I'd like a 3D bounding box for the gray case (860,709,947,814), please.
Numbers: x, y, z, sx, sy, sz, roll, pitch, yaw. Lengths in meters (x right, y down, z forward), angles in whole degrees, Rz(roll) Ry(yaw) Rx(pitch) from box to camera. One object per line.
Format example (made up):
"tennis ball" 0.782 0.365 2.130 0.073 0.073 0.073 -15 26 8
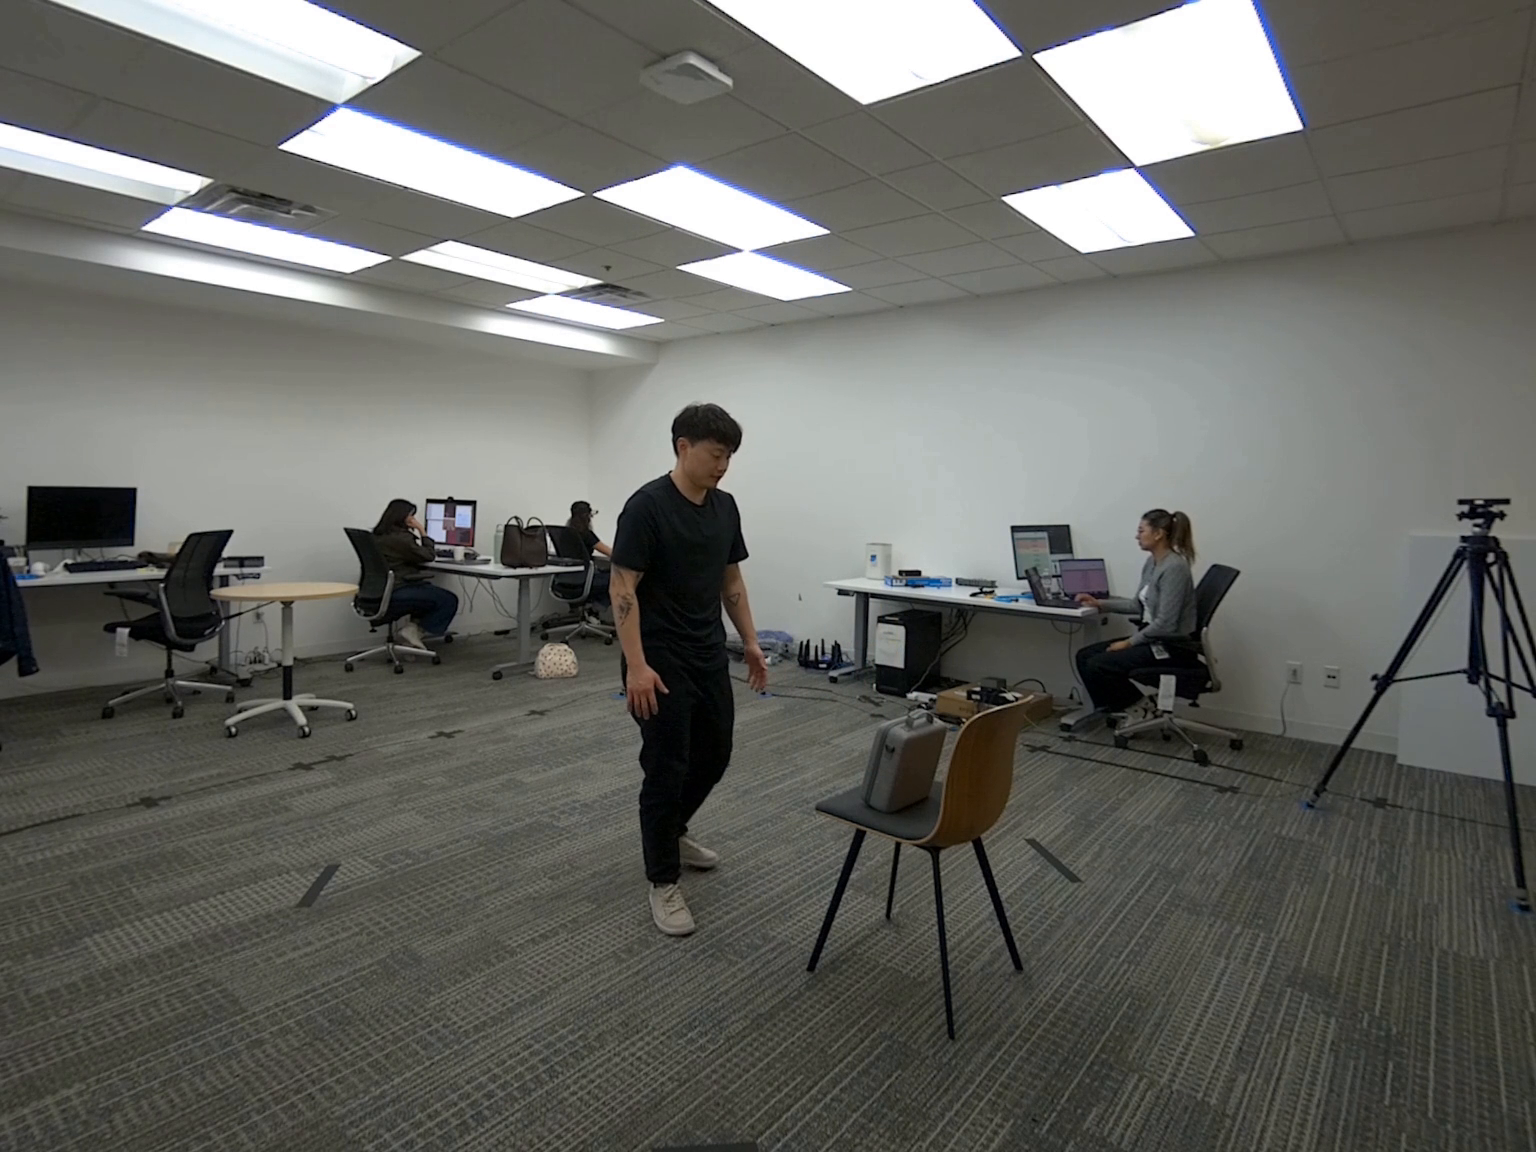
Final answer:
"gray case" 0.397 0.542 2.480 0.249 0.258 0.108 -2 19 -44
